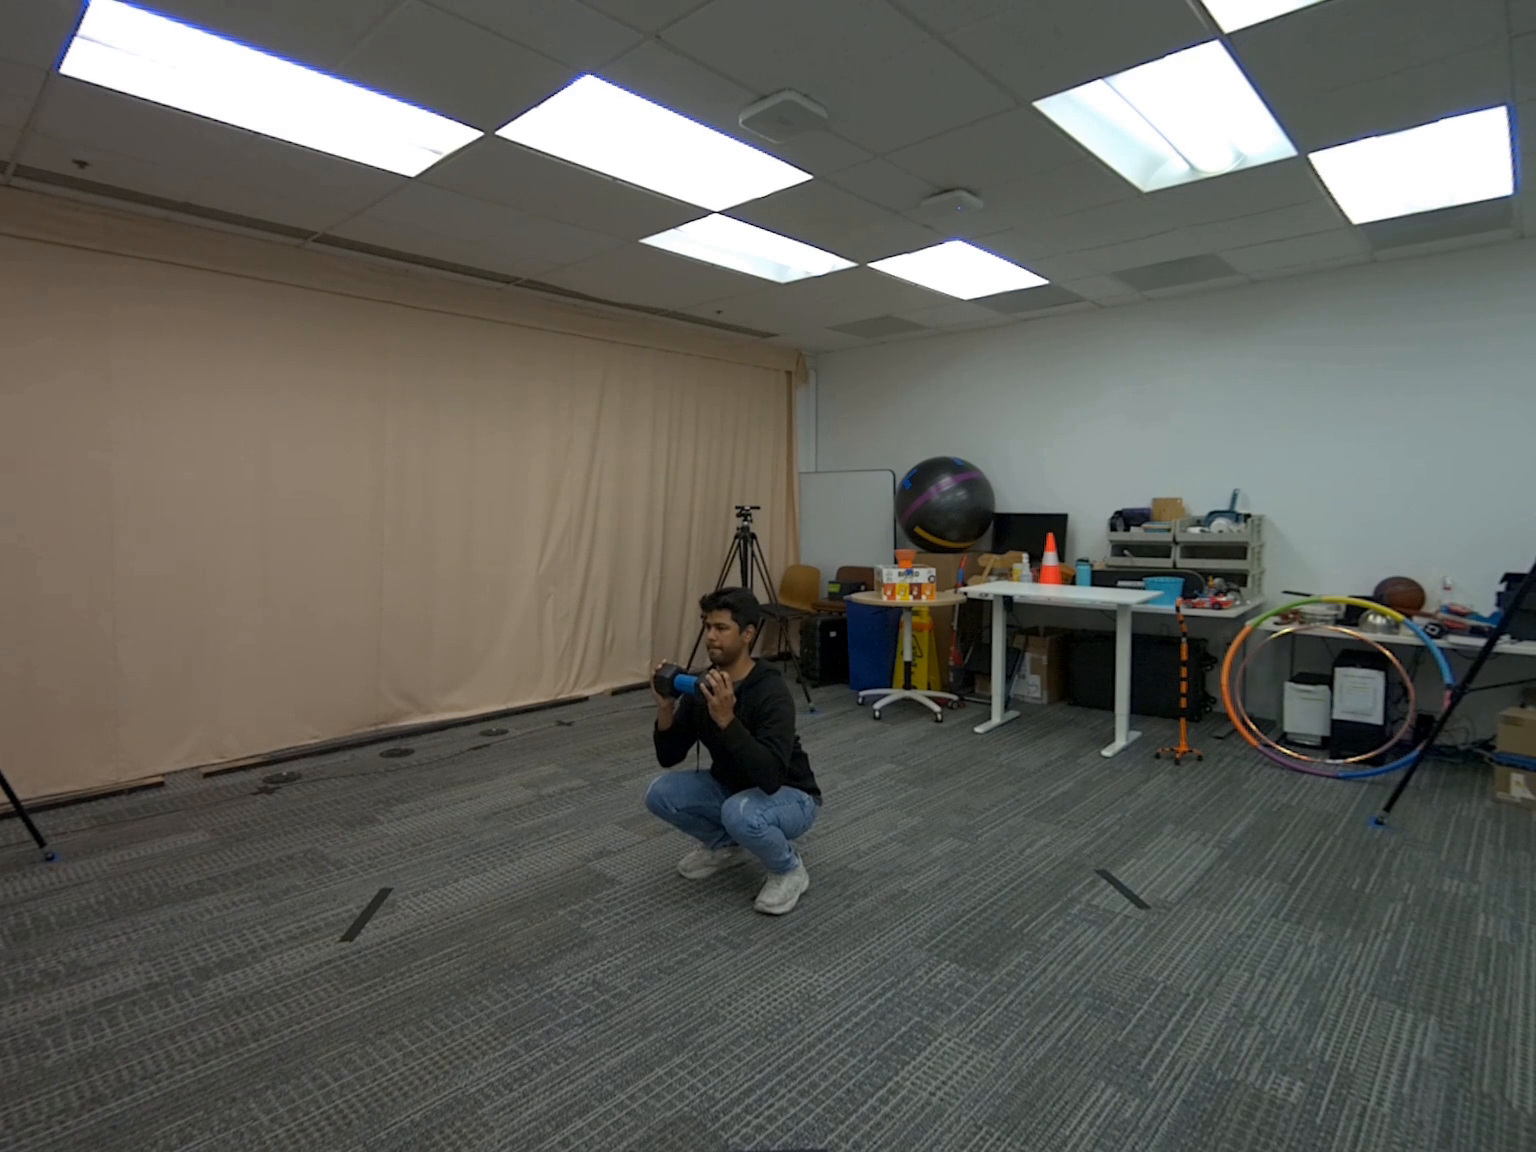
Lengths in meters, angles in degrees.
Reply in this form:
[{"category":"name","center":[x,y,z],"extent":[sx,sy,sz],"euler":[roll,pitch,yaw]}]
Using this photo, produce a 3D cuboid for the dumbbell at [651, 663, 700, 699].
[{"category":"dumbbell","center":[-0.254,0.366,2.897],"extent":[0.303,0.122,0.105],"euler":[5,8,44]}]
